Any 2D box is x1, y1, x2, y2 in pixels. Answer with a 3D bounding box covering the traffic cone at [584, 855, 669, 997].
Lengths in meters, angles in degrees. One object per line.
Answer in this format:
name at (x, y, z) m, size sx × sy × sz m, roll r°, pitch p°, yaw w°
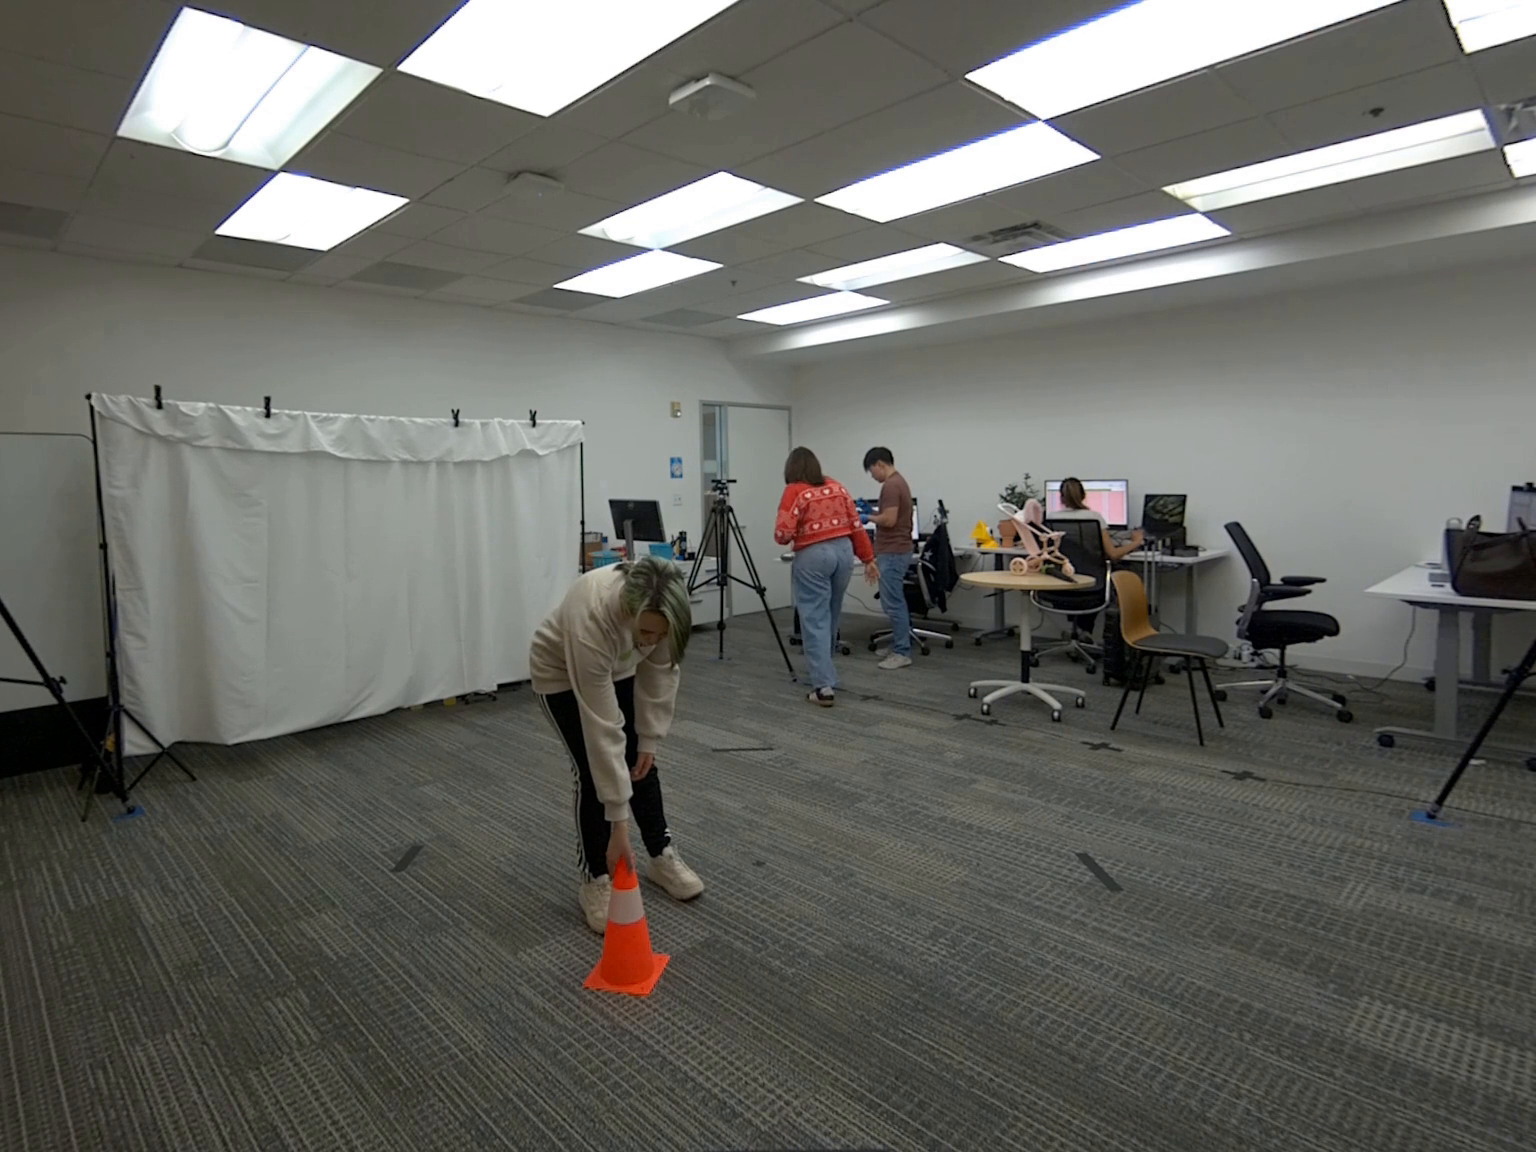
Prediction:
traffic cone at (-0.399, 0.945, 2.436) m, size 0.206 × 0.382 × 0.203 m, roll 0°, pitch 4°, yaw 13°
